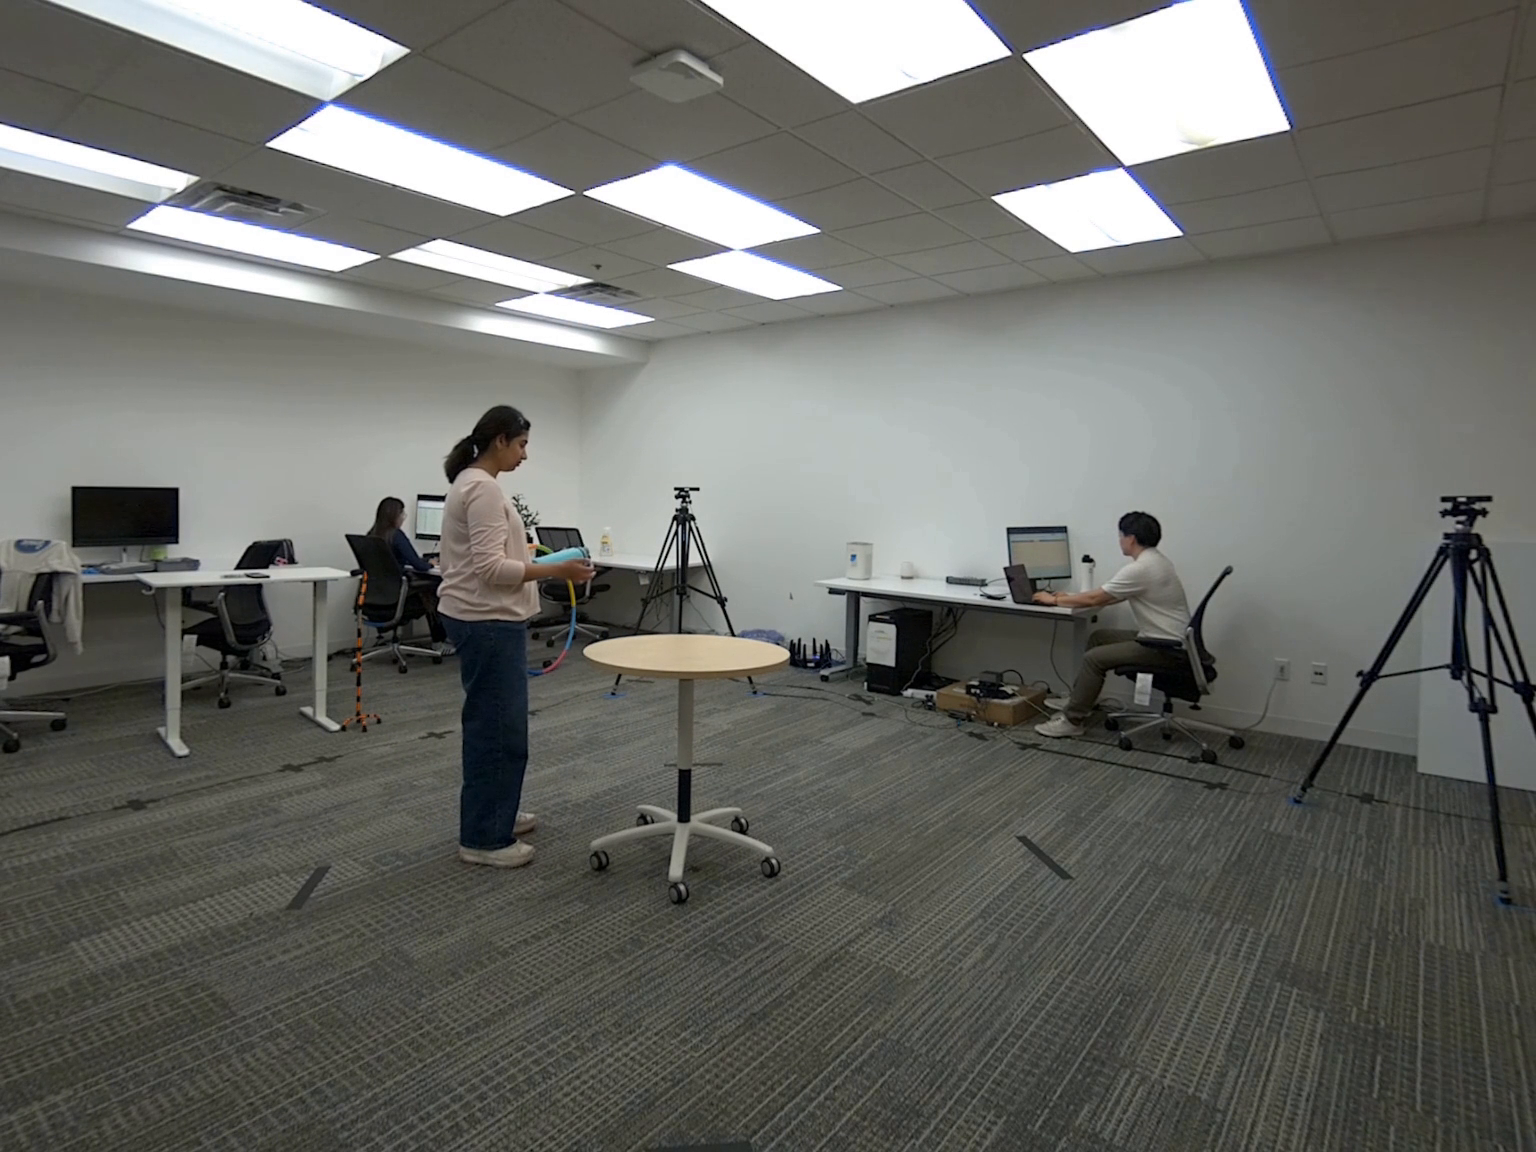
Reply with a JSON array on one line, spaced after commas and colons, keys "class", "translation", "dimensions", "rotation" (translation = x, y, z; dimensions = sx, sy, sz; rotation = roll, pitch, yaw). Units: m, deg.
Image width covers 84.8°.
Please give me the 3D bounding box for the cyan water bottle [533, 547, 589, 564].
[{"class": "cyan water bottle", "translation": [-0.836, -0.065, 3.448], "dimensions": [0.095, 0.091, 0.278], "rotation": [4, 17, 37]}]
